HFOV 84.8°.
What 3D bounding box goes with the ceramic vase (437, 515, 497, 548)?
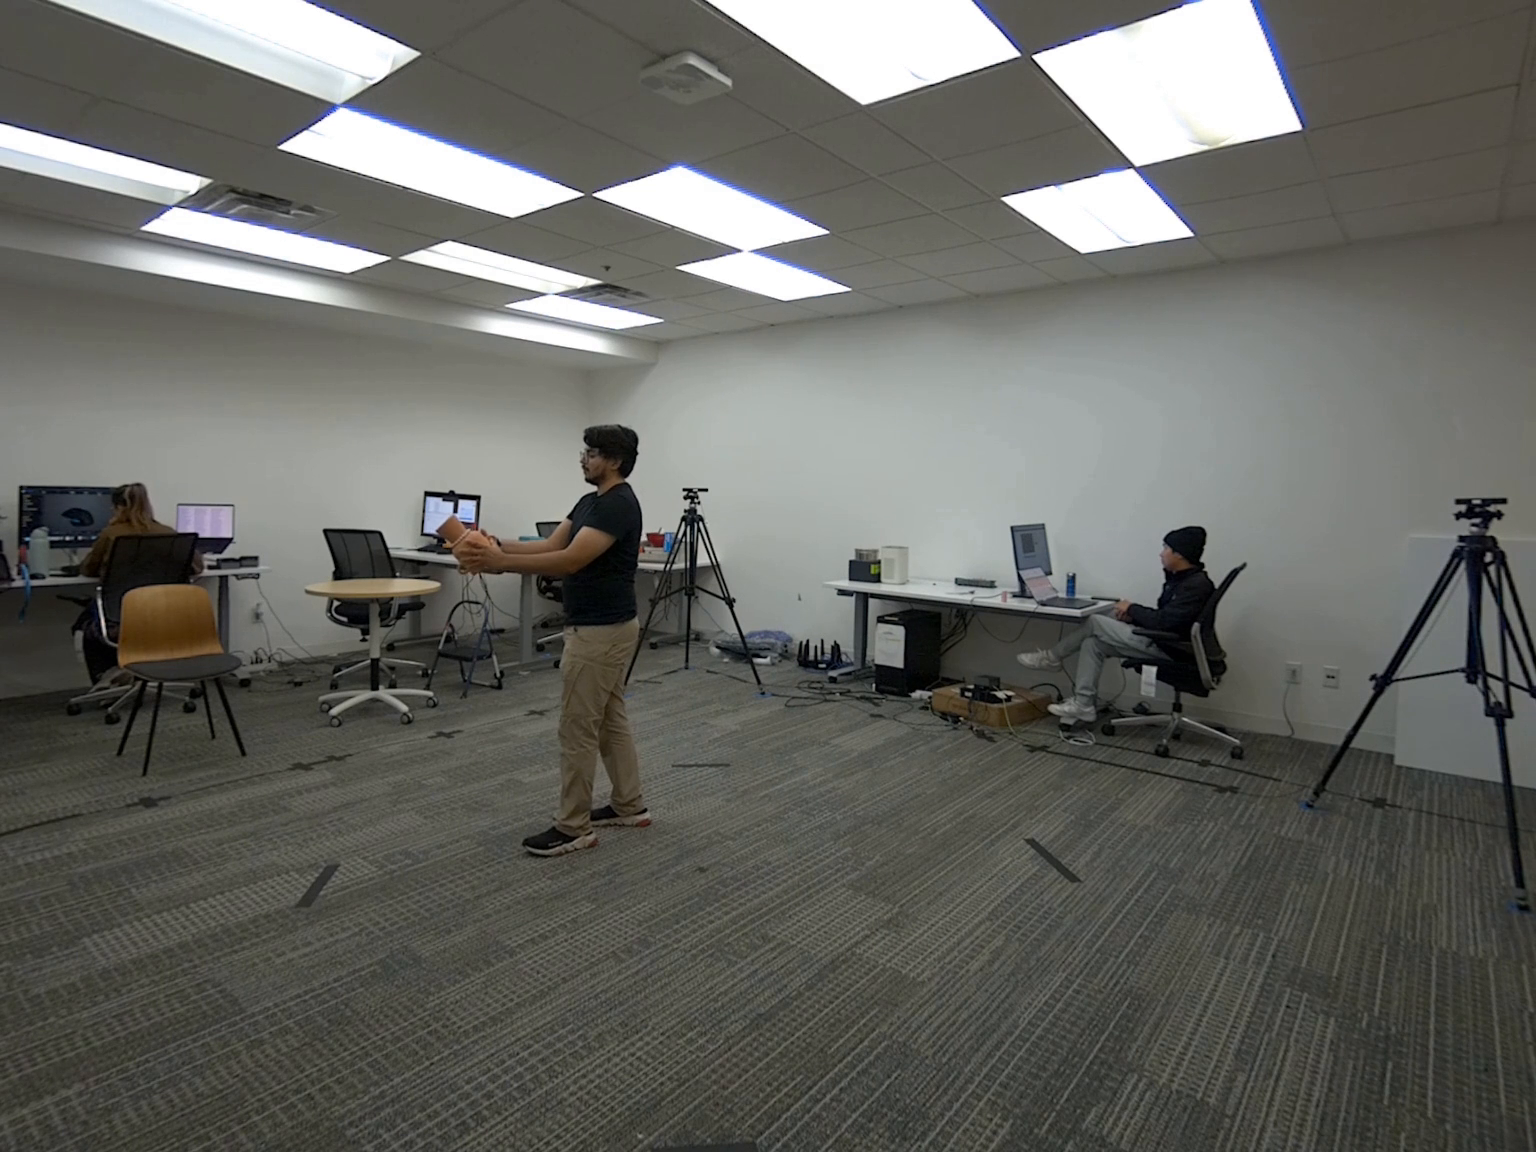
[{"bbox_3d":[-1.171,-0.132,3.241,0.135,0.216,0.161,-40,14,18],"label":"ceramic vase"}]
